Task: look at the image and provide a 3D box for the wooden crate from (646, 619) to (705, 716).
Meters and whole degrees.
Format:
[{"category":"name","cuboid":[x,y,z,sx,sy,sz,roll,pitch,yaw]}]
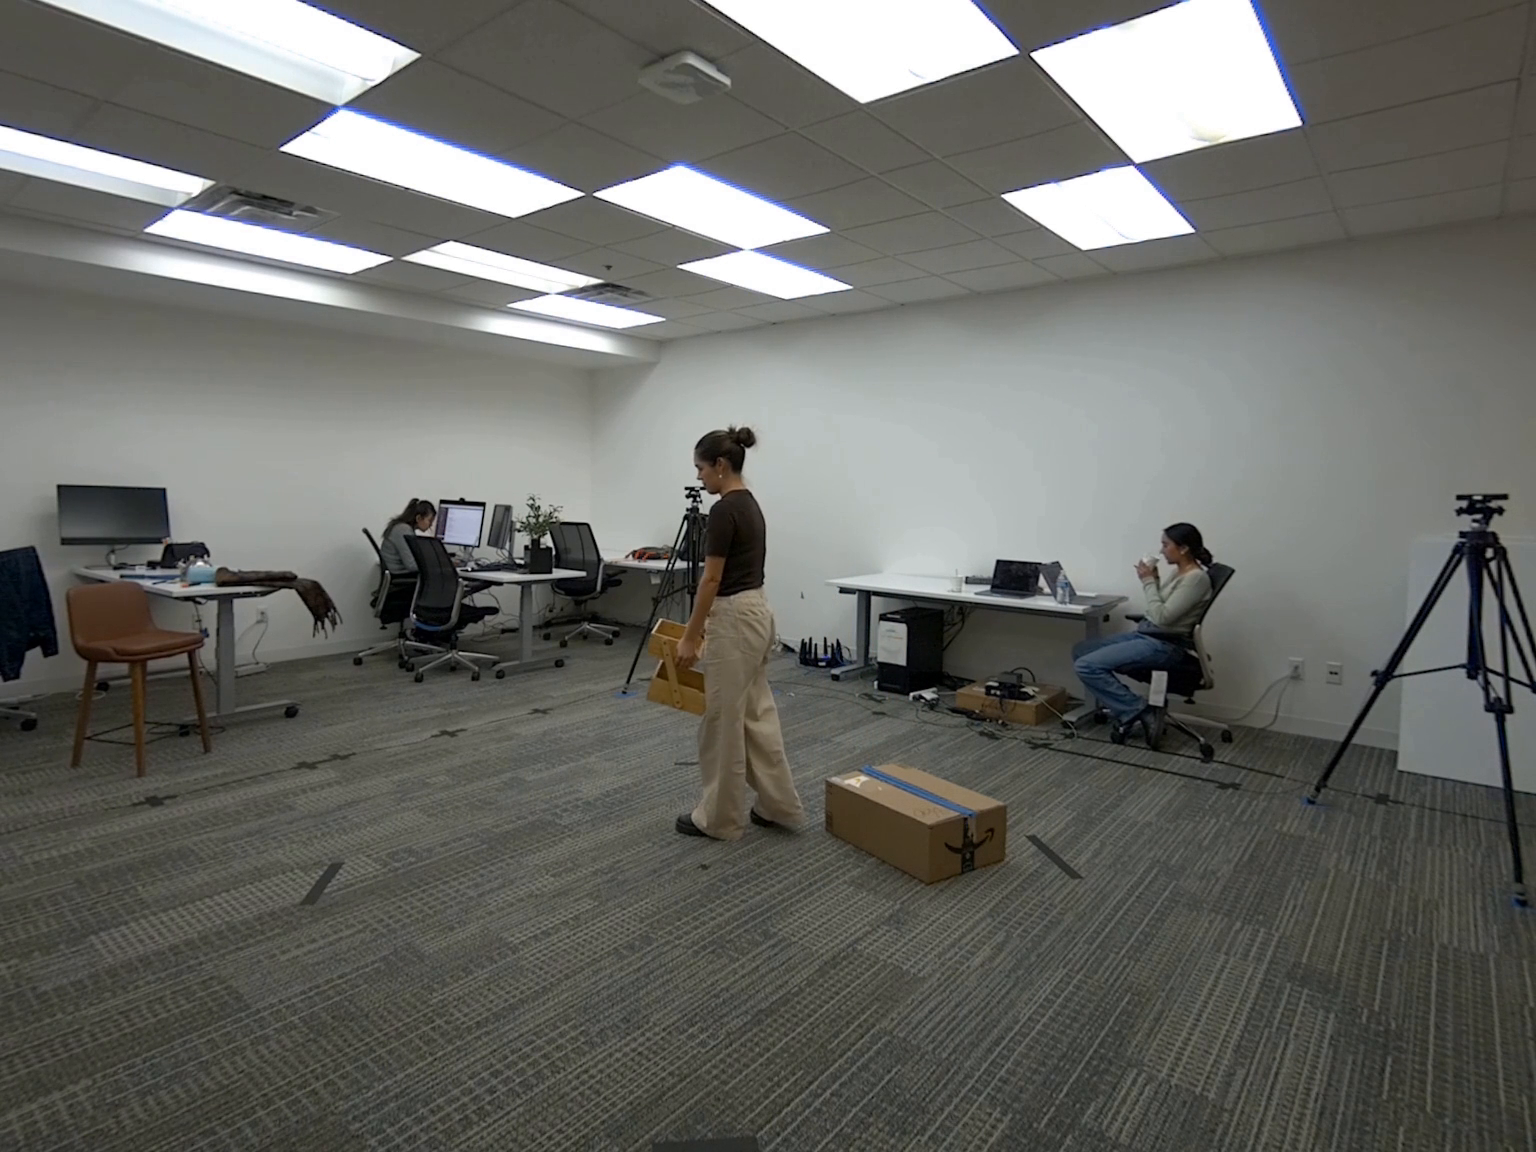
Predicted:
[{"category":"wooden crate","cuboid":[-0.350,0.359,3.452,0.302,0.272,0.326,17,7,-1]}]
